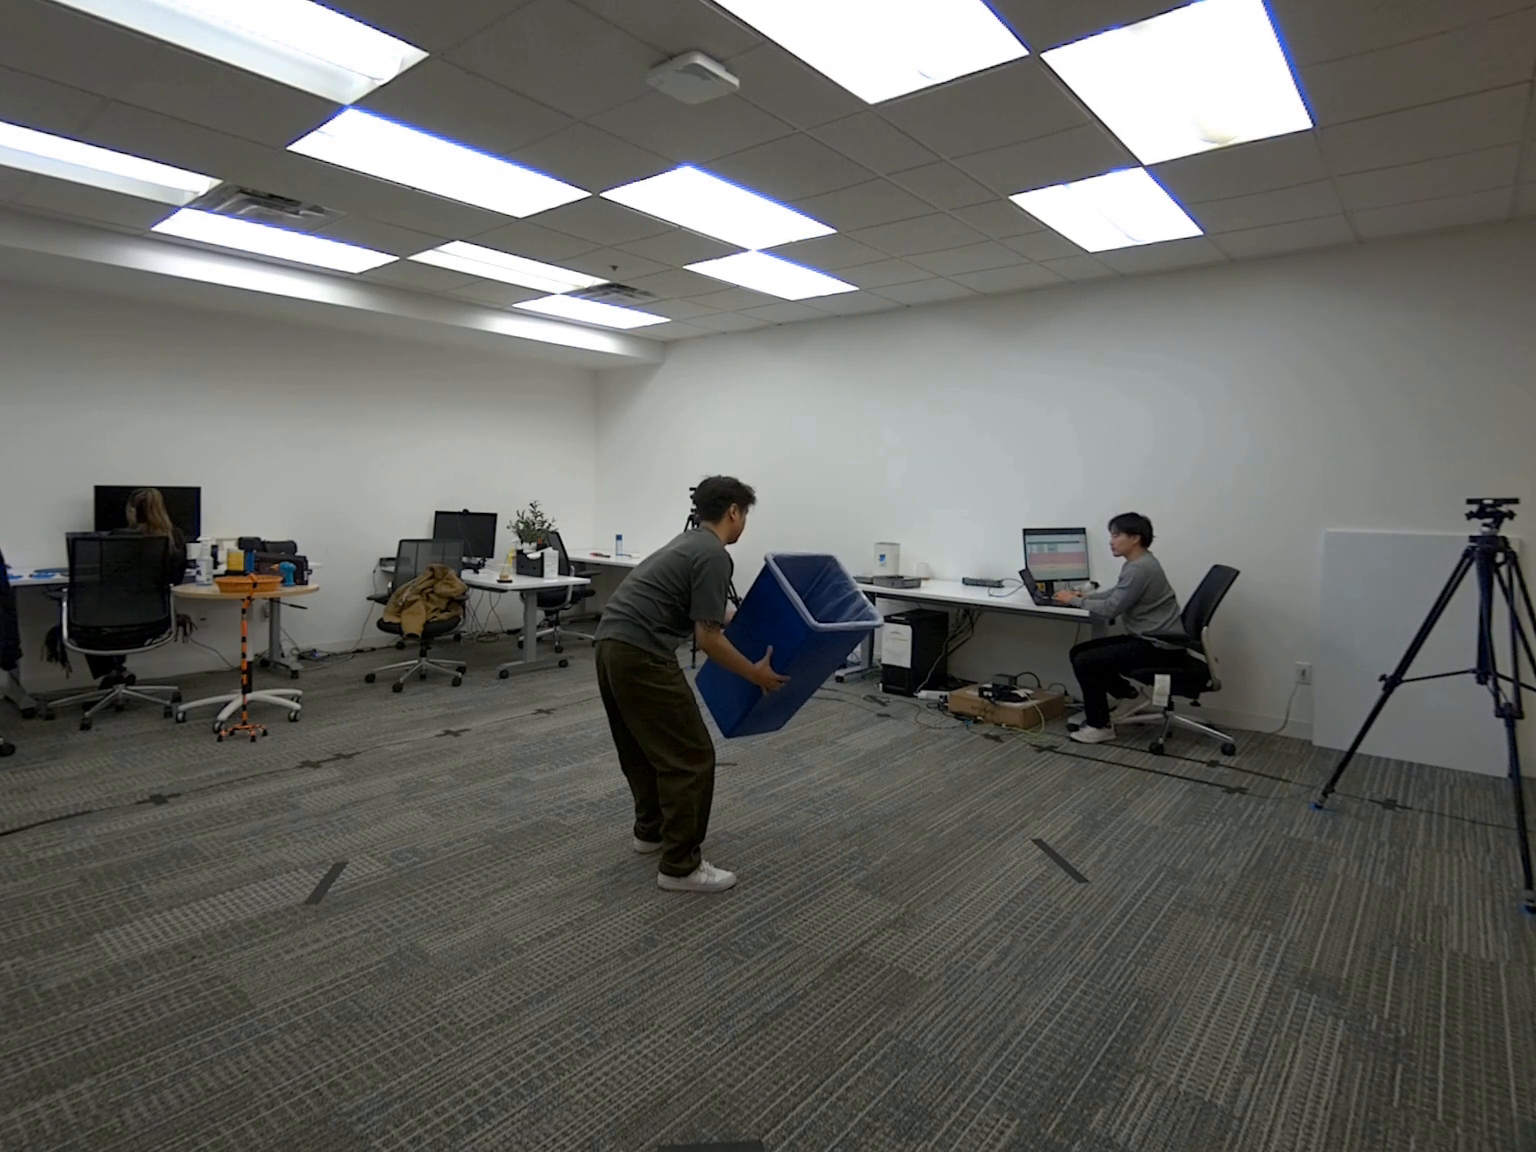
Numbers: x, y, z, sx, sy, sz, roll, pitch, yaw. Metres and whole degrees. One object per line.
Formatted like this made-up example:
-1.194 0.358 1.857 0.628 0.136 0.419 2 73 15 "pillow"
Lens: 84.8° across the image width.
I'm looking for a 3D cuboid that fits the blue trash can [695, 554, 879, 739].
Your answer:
0.040 0.297 3.300 0.366 0.708 0.389 0 45 -40 "blue trash can"
